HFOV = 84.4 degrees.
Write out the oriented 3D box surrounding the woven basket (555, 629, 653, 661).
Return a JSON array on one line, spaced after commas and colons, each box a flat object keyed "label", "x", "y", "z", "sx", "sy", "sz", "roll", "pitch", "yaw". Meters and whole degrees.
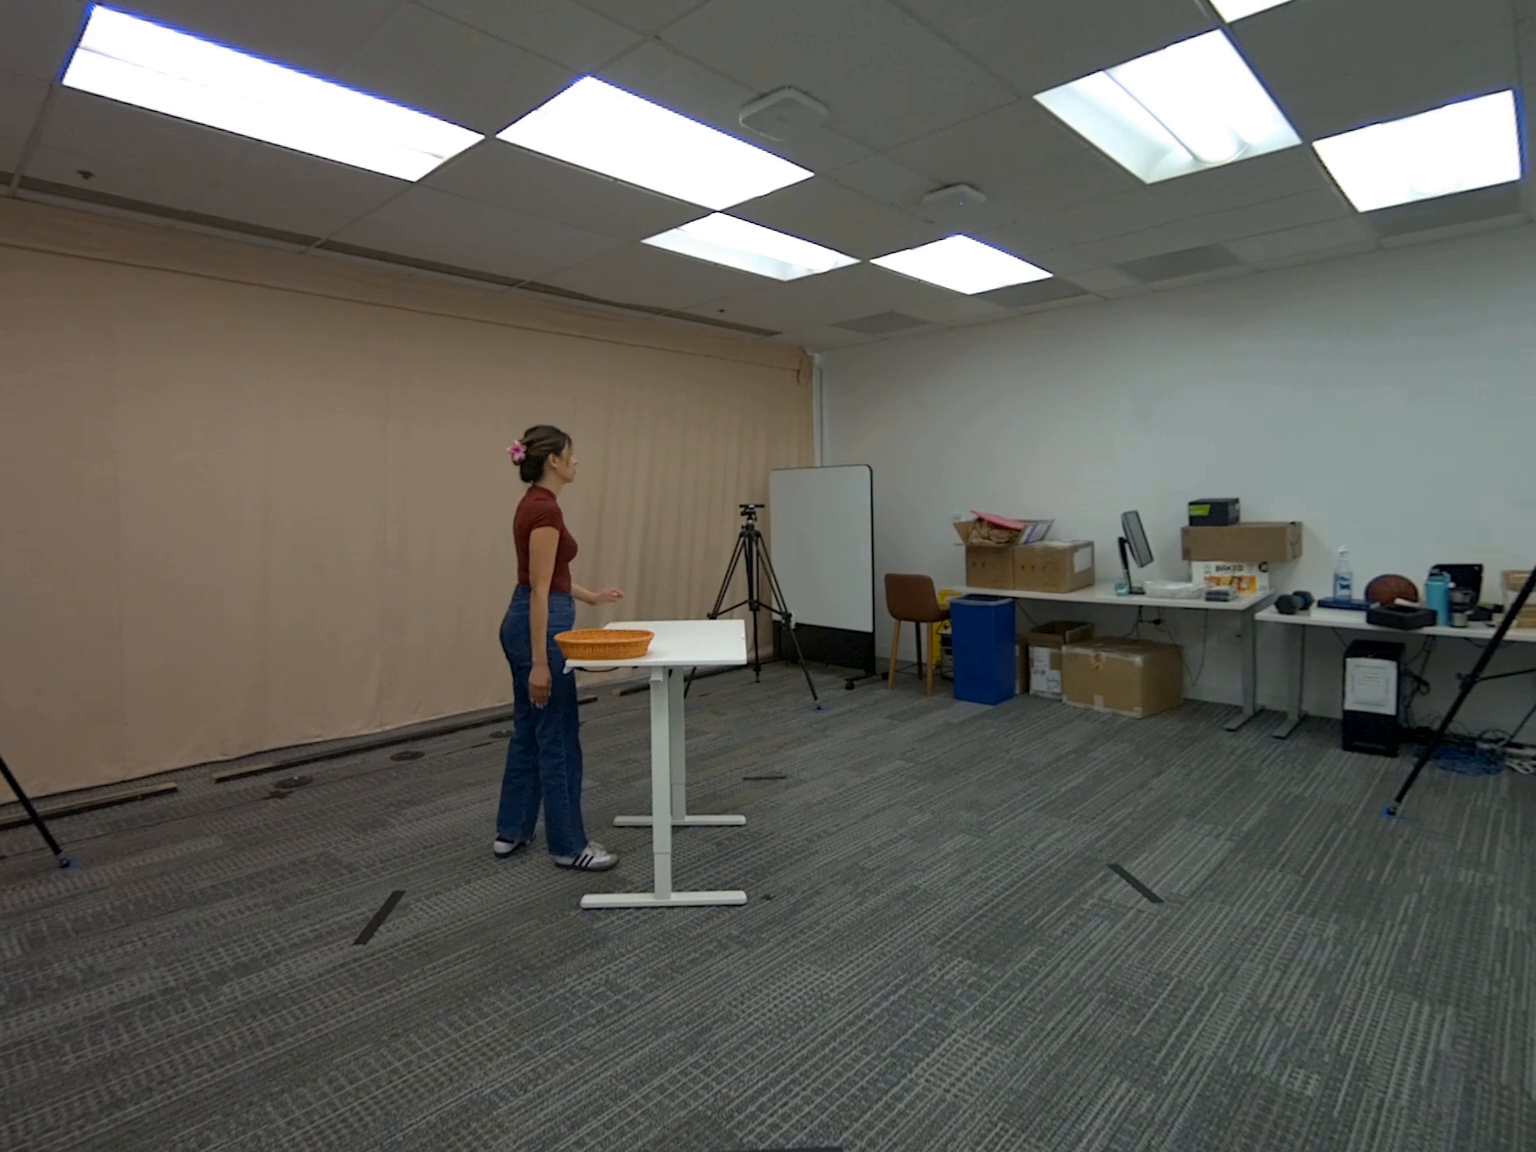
[{"label": "woven basket", "x": -0.565, "y": 0.244, "z": 2.906, "sx": 0.354, "sy": 0.073, "sz": 0.250, "roll": 0, "pitch": 5, "yaw": 9}]
